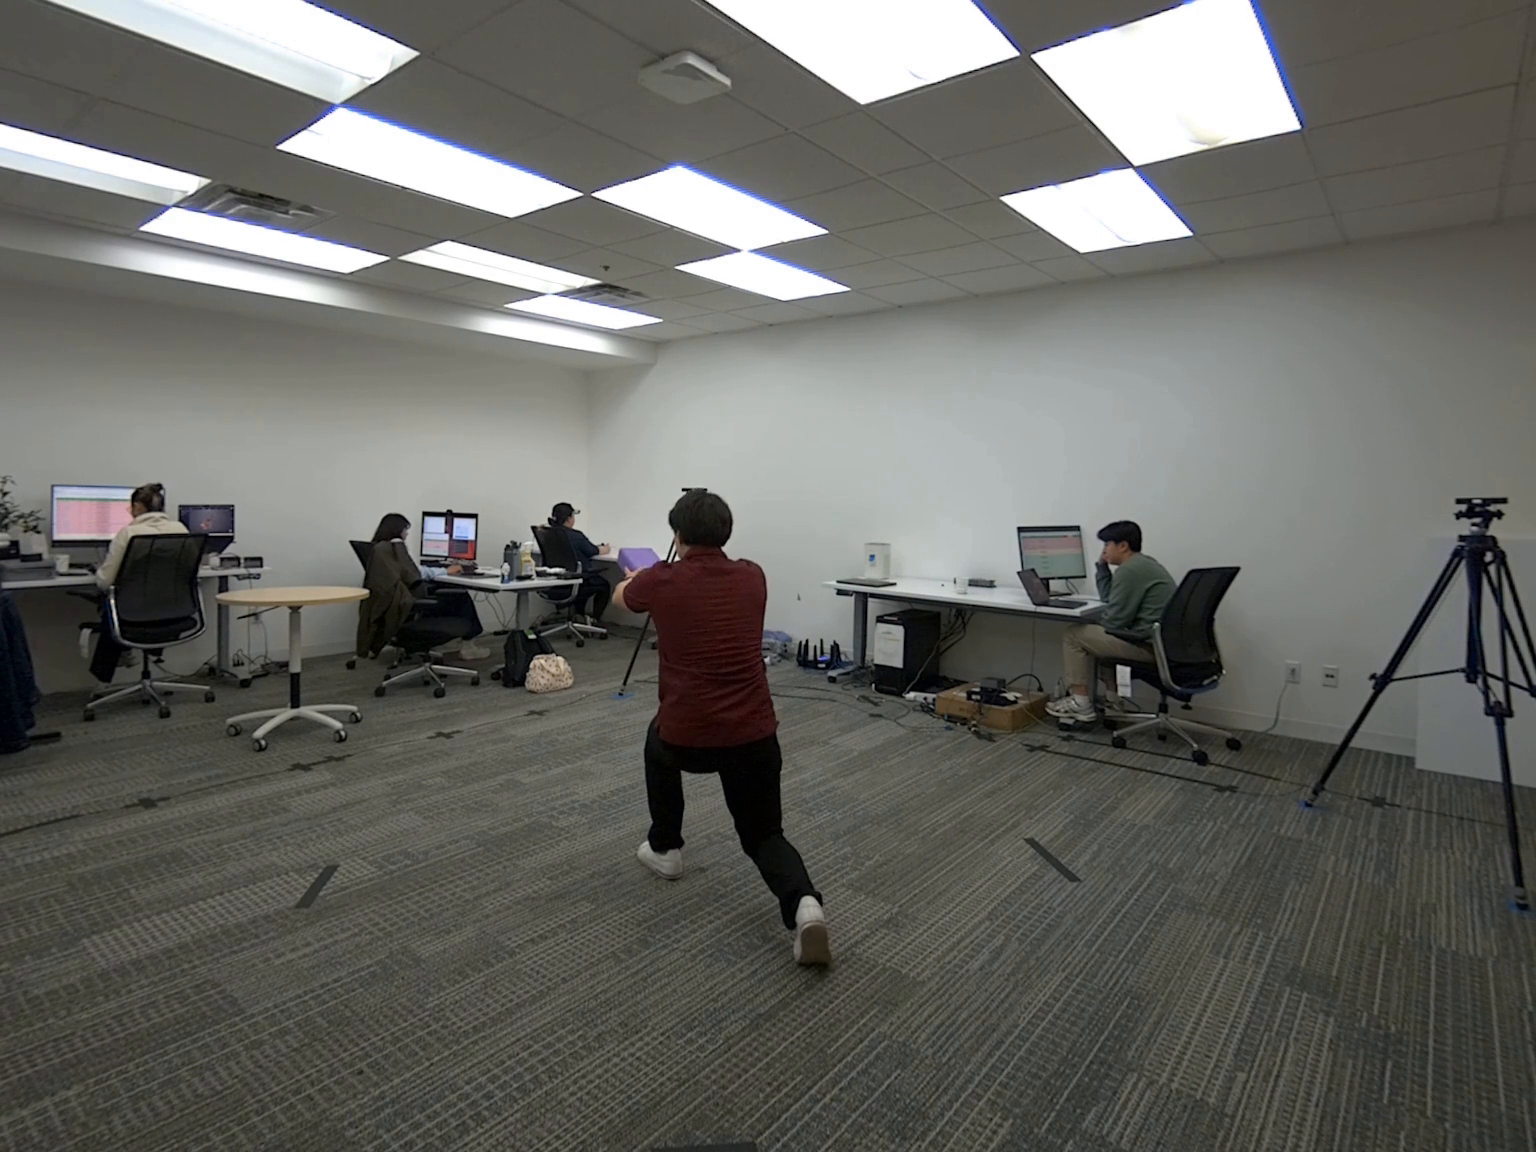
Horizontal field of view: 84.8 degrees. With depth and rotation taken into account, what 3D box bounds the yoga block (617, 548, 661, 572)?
[{"bbox_3d":[-0.507,-0.030,3.442,0.145,0.075,0.238,1,25,-24],"label":"yoga block"}]
